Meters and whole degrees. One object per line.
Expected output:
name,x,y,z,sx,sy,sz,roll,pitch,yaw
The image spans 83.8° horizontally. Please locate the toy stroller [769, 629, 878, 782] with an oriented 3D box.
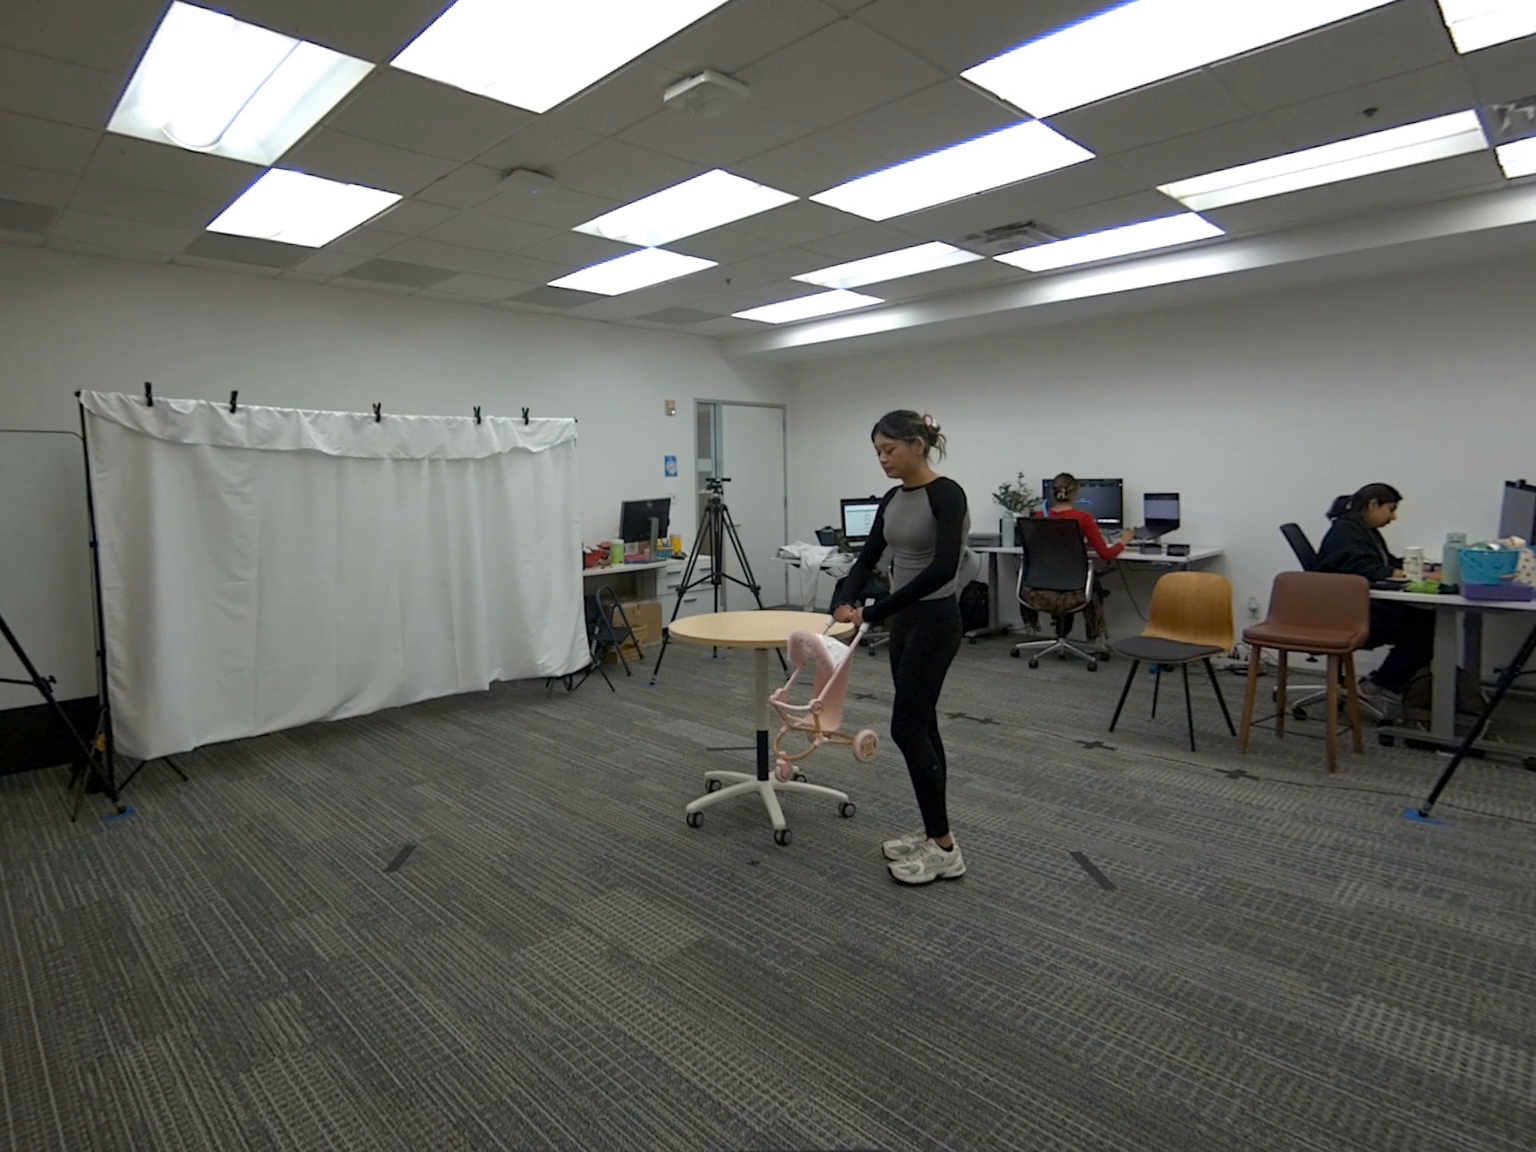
toy stroller,0.153,0.400,2.857,0.333,0.534,0.288,-1,3,-27
